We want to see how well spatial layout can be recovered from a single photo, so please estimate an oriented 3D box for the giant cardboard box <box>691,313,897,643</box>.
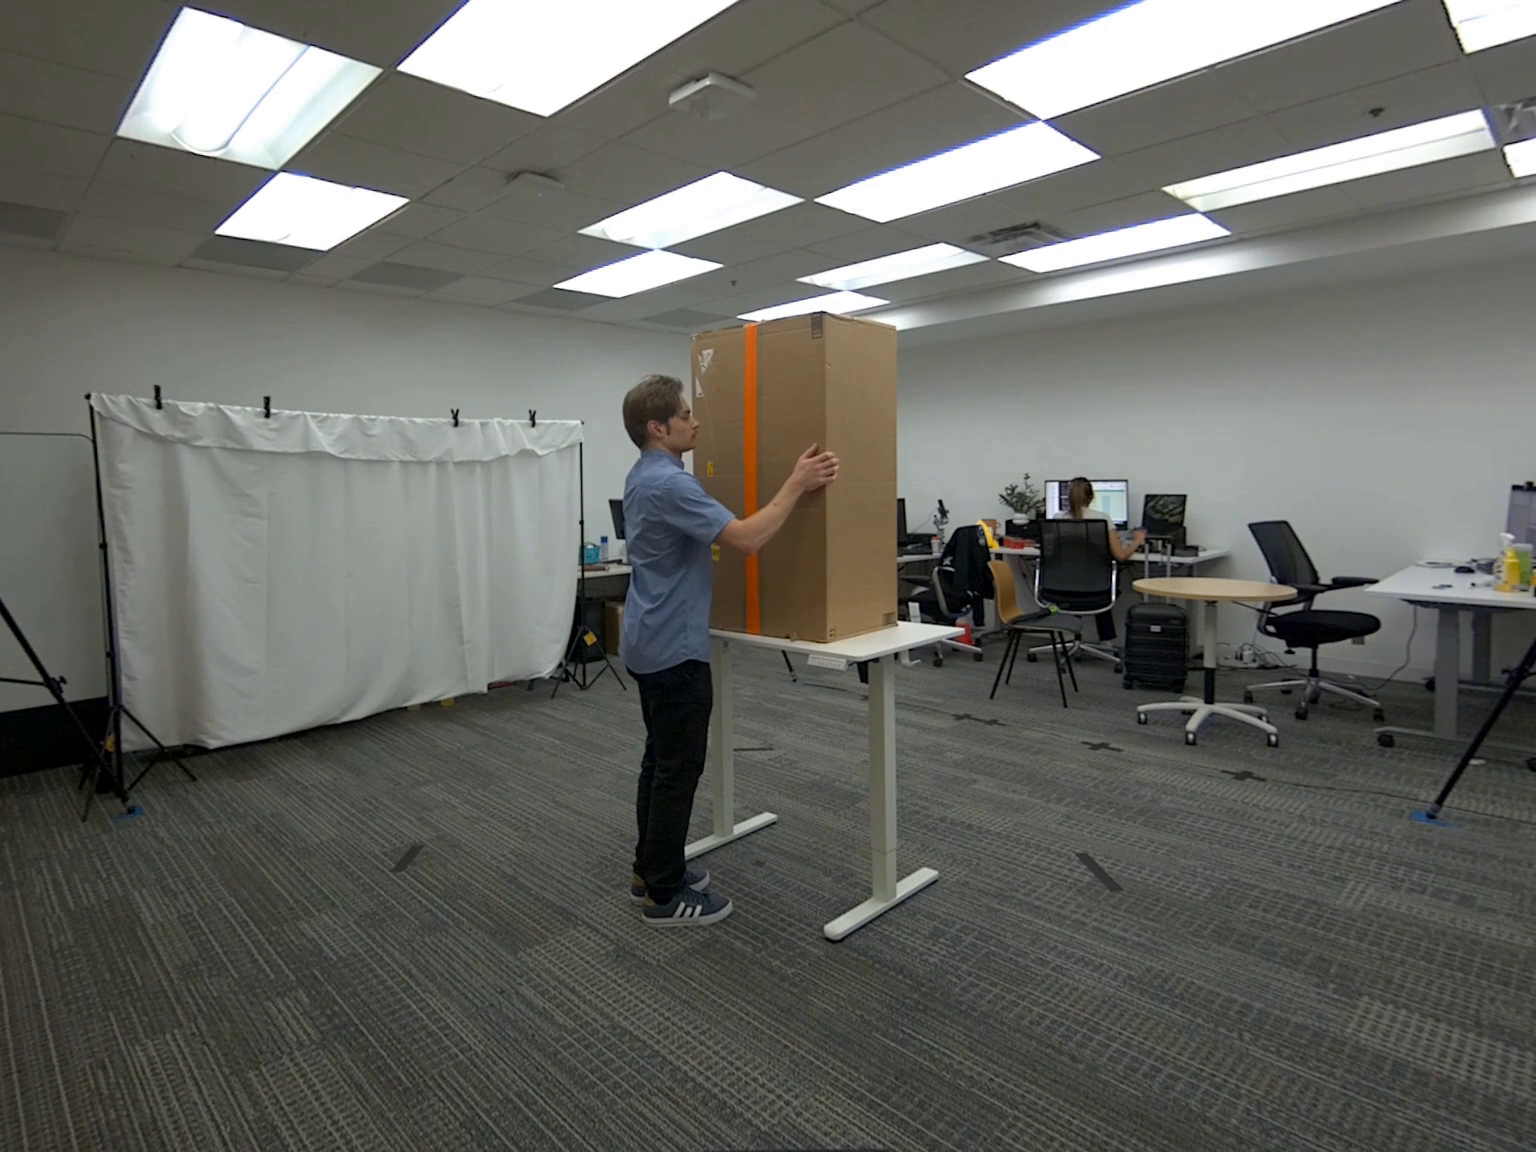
[{"bbox_3d":[0.090,-0.330,2.953,0.595,1.022,0.415,3,5,42],"label":"giant cardboard box"}]
